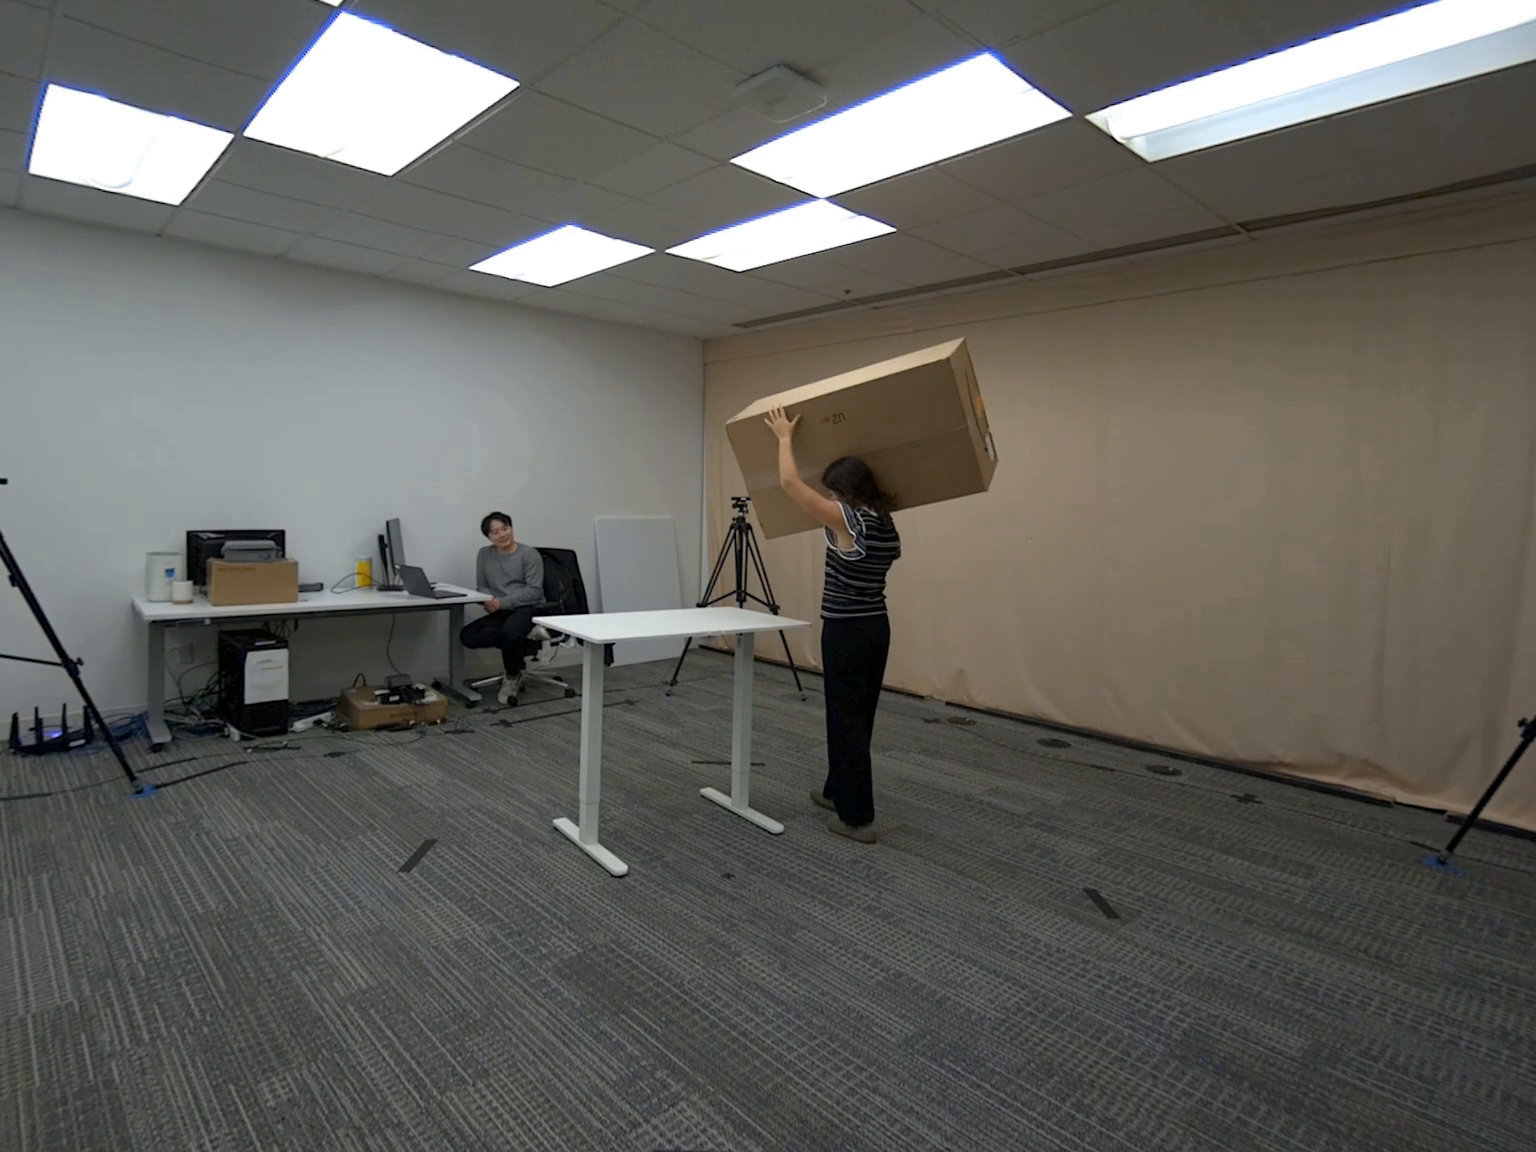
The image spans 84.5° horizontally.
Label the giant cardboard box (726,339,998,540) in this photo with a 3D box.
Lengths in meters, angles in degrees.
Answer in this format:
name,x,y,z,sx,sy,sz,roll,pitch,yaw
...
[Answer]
name,x,y,z,sx,sy,sz,roll,pitch,yaw
giant cardboard box,0.410,-0.591,3.744,1.042,0.568,0.426,-11,19,28
